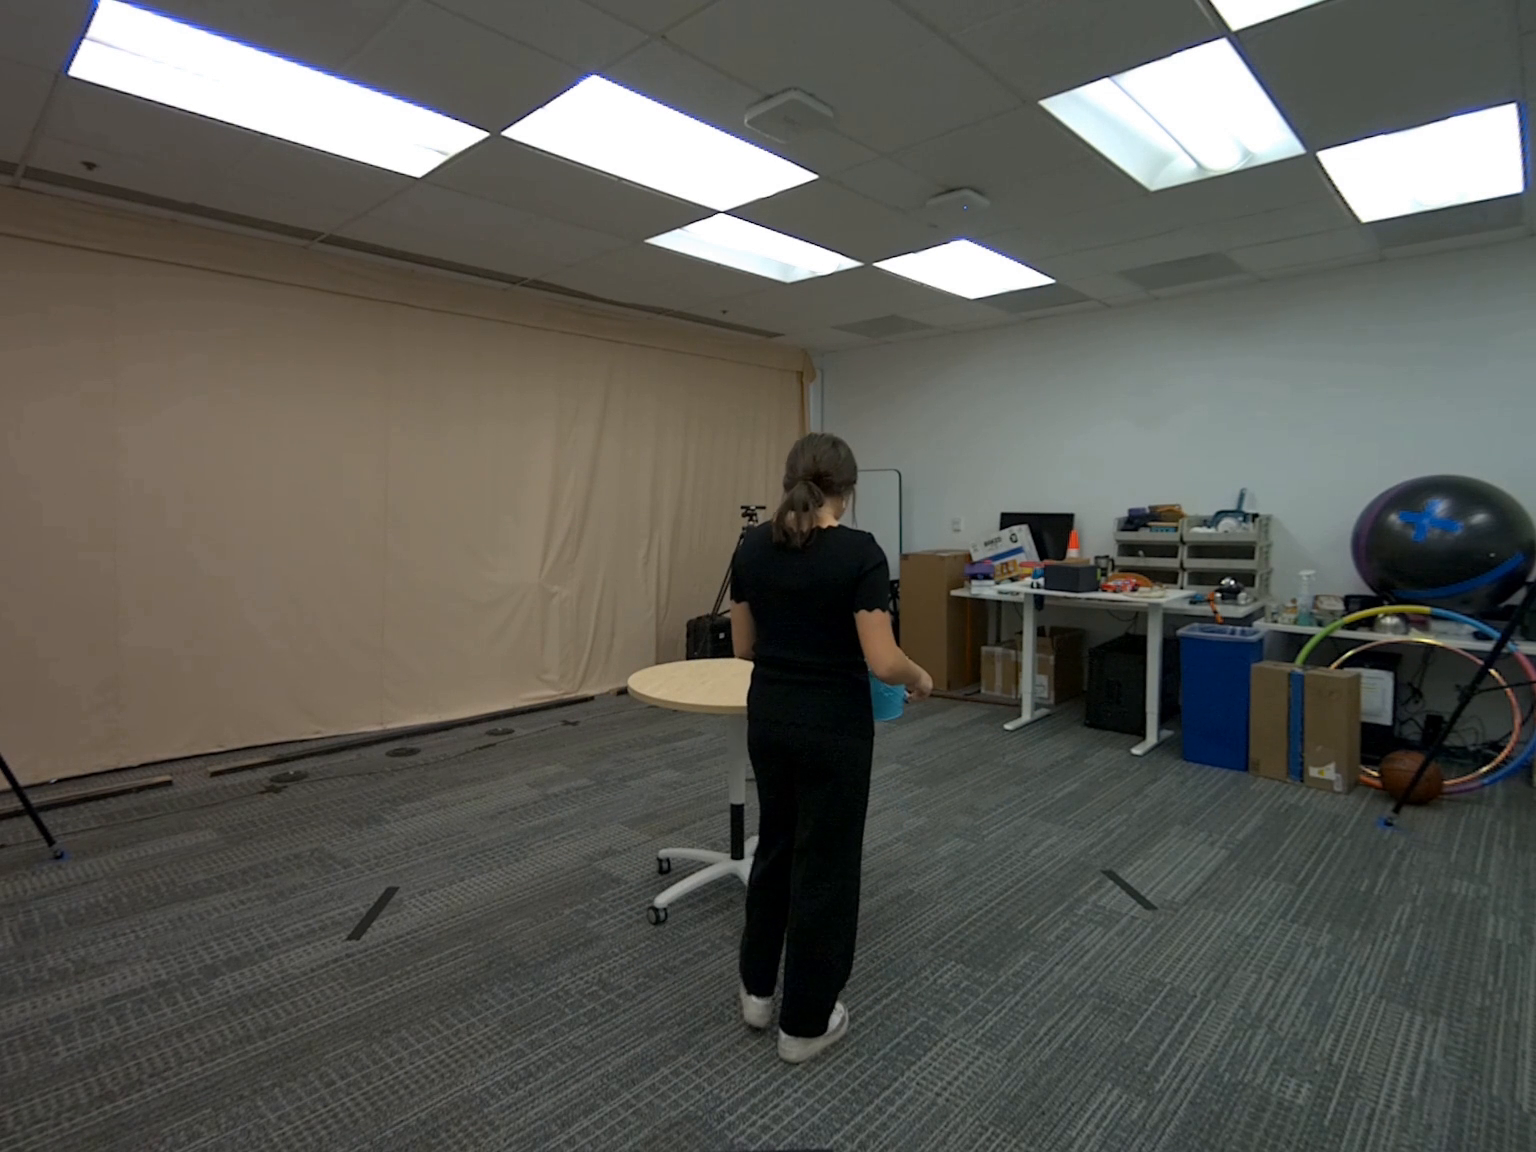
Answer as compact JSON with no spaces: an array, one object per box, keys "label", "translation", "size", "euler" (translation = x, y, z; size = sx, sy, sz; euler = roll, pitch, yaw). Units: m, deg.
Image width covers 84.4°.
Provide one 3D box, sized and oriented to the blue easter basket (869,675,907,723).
[{"label":"blue easter basket","translation":[0.298,0.328,2.387],"size":[0.243,0.155,0.245],"euler":[-6,7,-1]}]
